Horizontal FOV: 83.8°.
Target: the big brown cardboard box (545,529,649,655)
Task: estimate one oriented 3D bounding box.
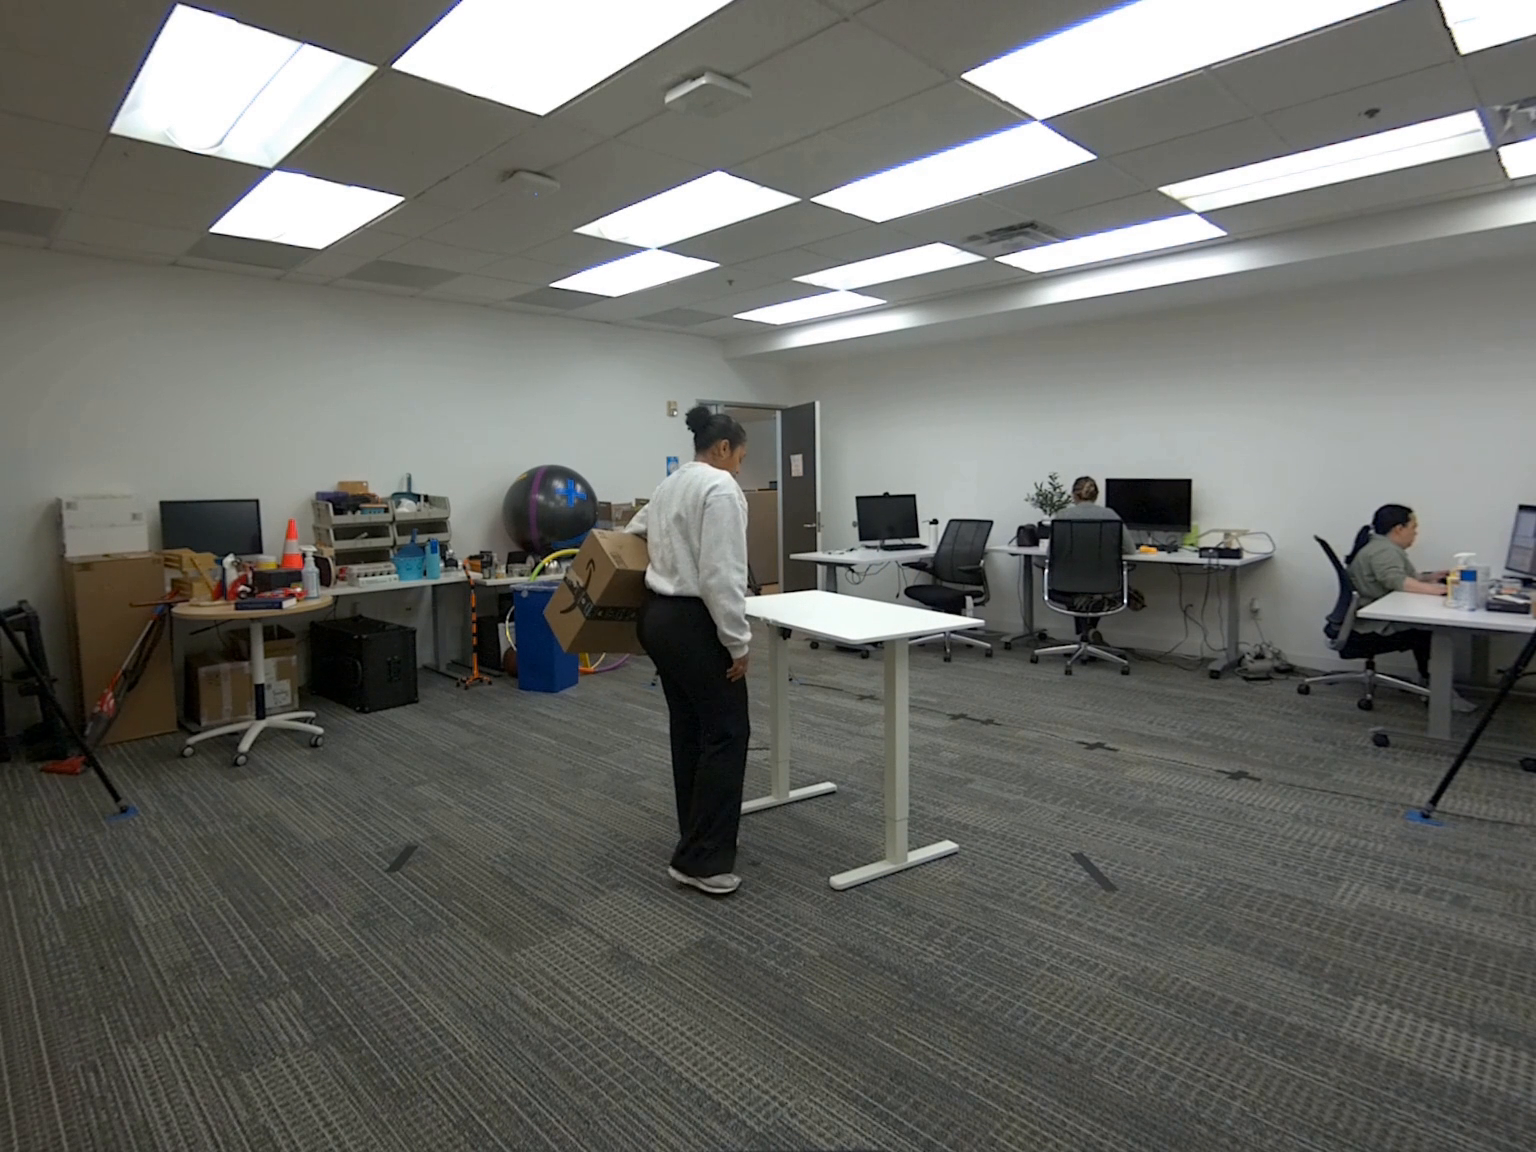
[{"bbox_3d":[-0.489,0.073,3.255,0.570,0.416,0.242,6,36,-48],"label":"big brown cardboard box"}]
